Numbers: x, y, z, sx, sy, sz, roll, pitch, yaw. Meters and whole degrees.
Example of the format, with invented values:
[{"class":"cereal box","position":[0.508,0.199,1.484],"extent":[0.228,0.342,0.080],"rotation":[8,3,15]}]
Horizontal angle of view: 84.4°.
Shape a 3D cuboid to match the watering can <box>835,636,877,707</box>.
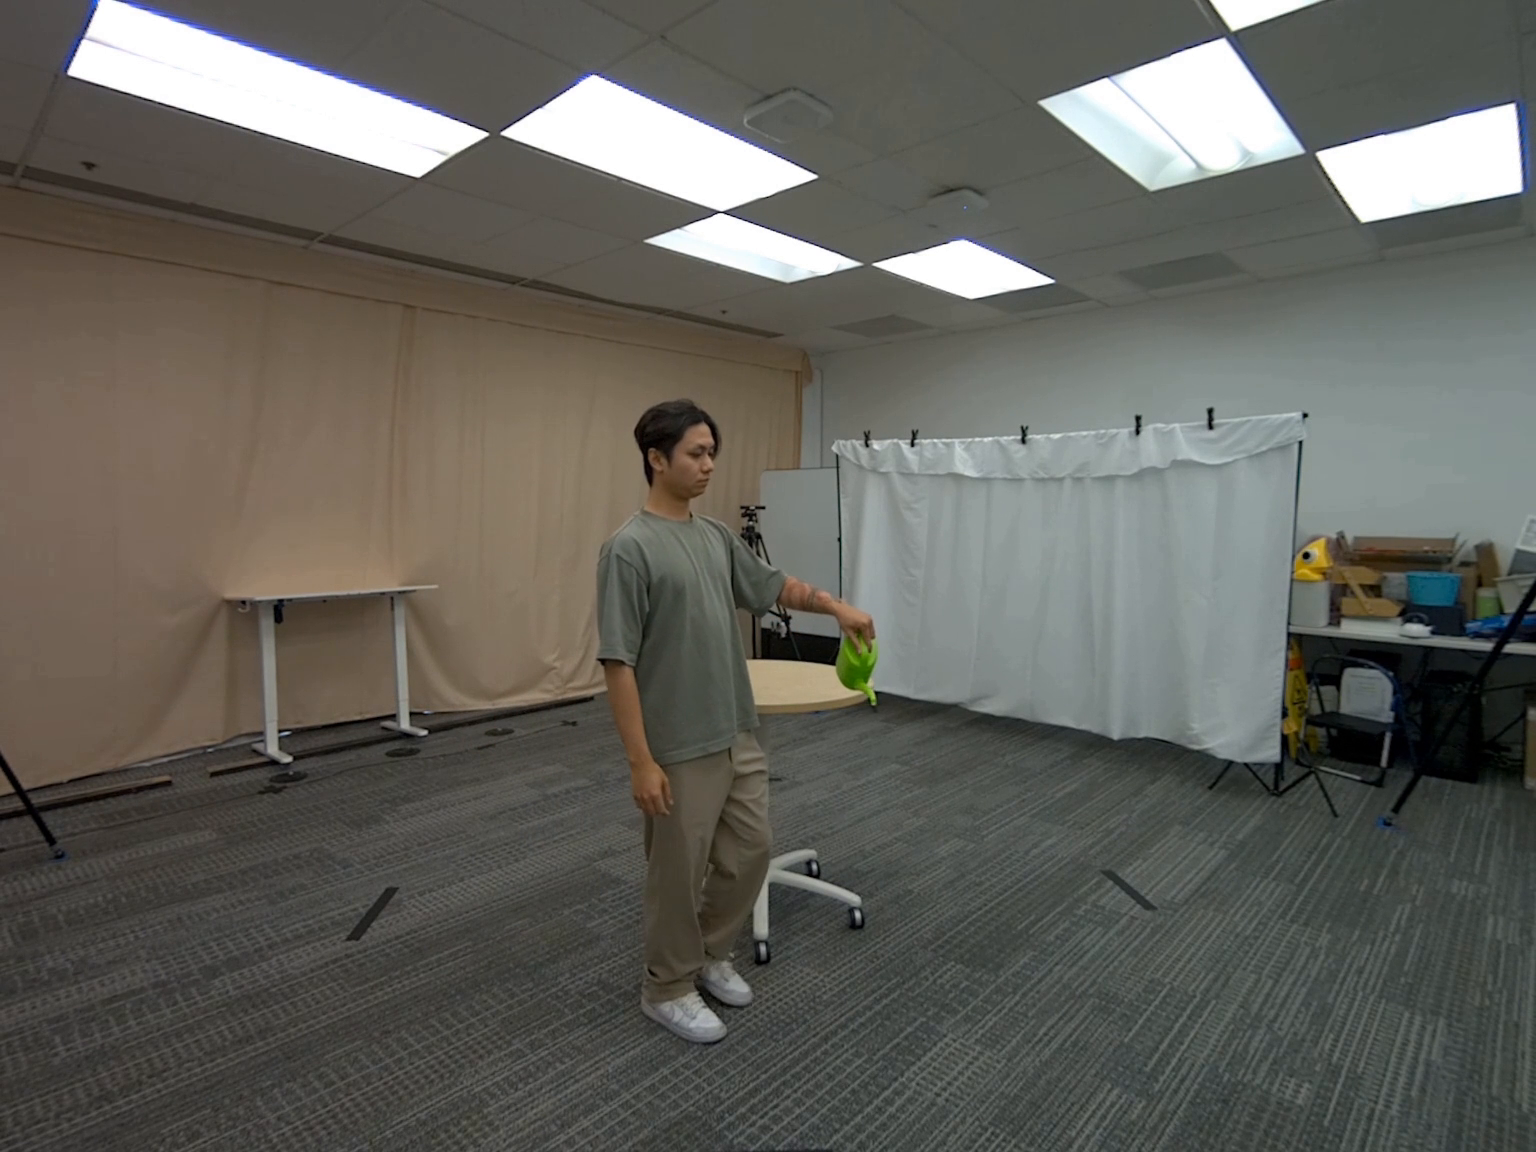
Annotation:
[{"class":"watering can","position":[0.245,0.255,2.269],"extent":[0.098,0.281,0.174],"rotation":[13,-36,3]}]
